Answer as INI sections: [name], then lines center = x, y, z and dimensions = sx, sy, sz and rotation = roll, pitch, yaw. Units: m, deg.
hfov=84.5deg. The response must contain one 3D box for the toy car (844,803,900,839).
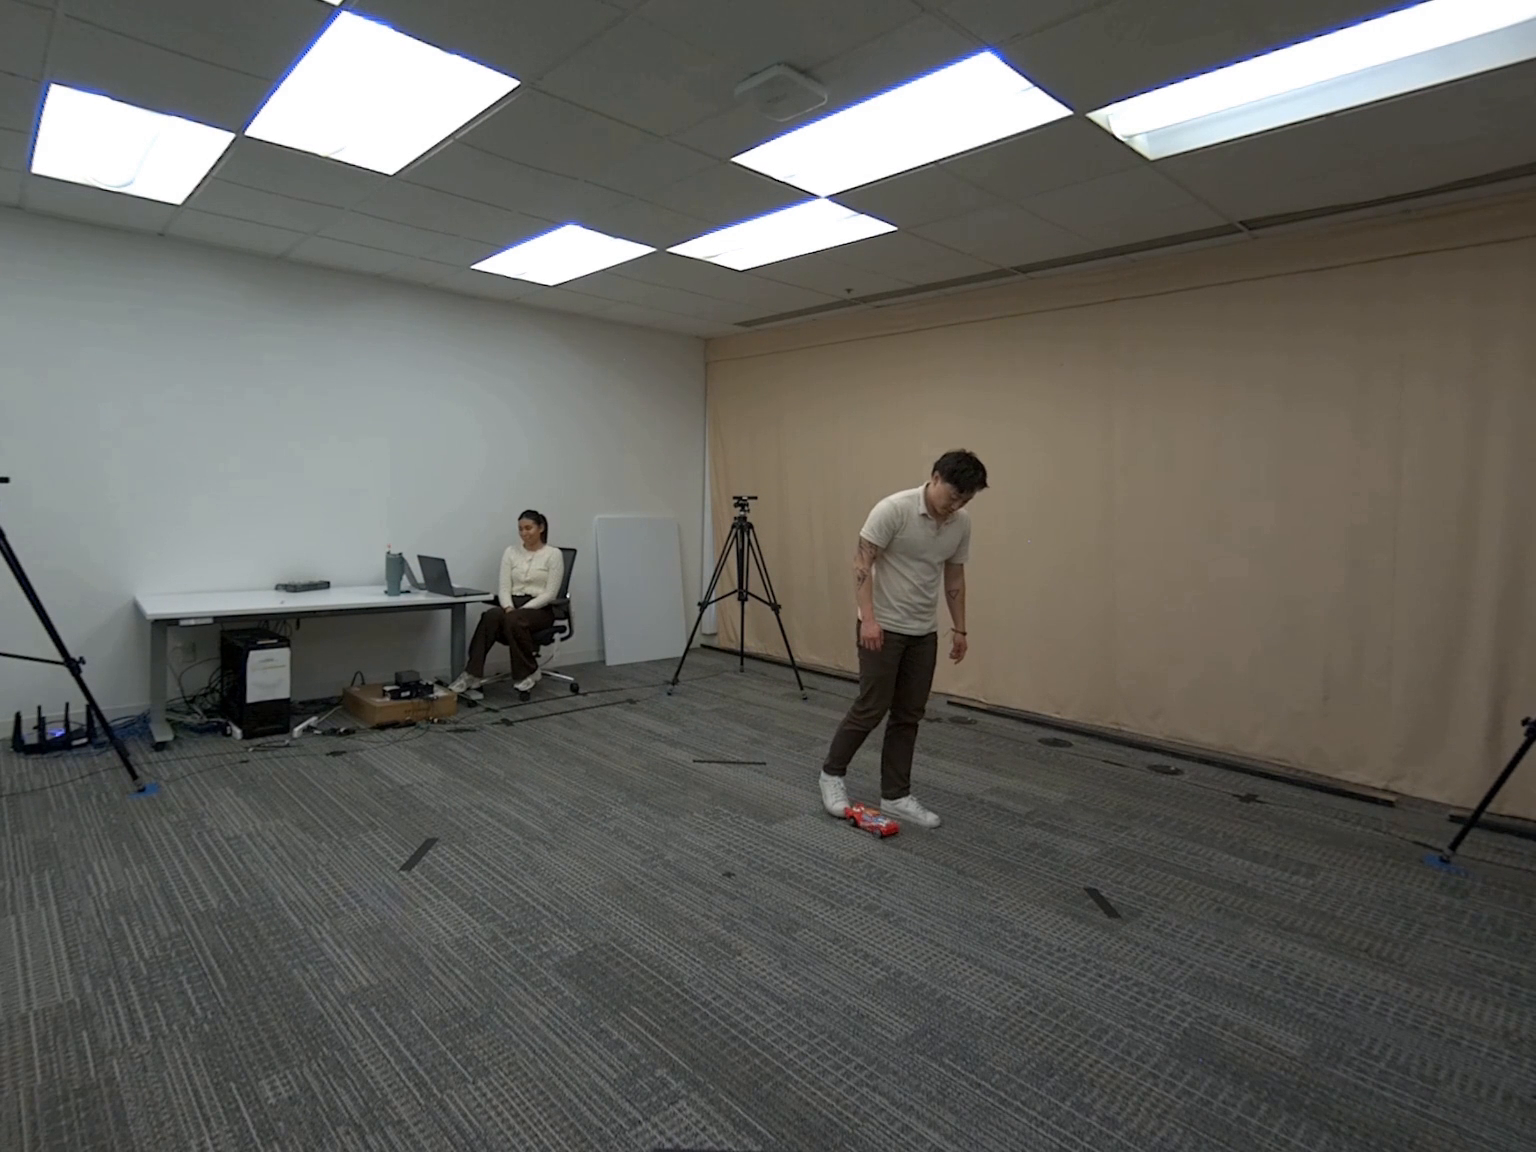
[toy car]
center = 0.432, 1.041, 3.582
dimensions = 0.127, 0.082, 0.262
rotation = -2, 17, -38
